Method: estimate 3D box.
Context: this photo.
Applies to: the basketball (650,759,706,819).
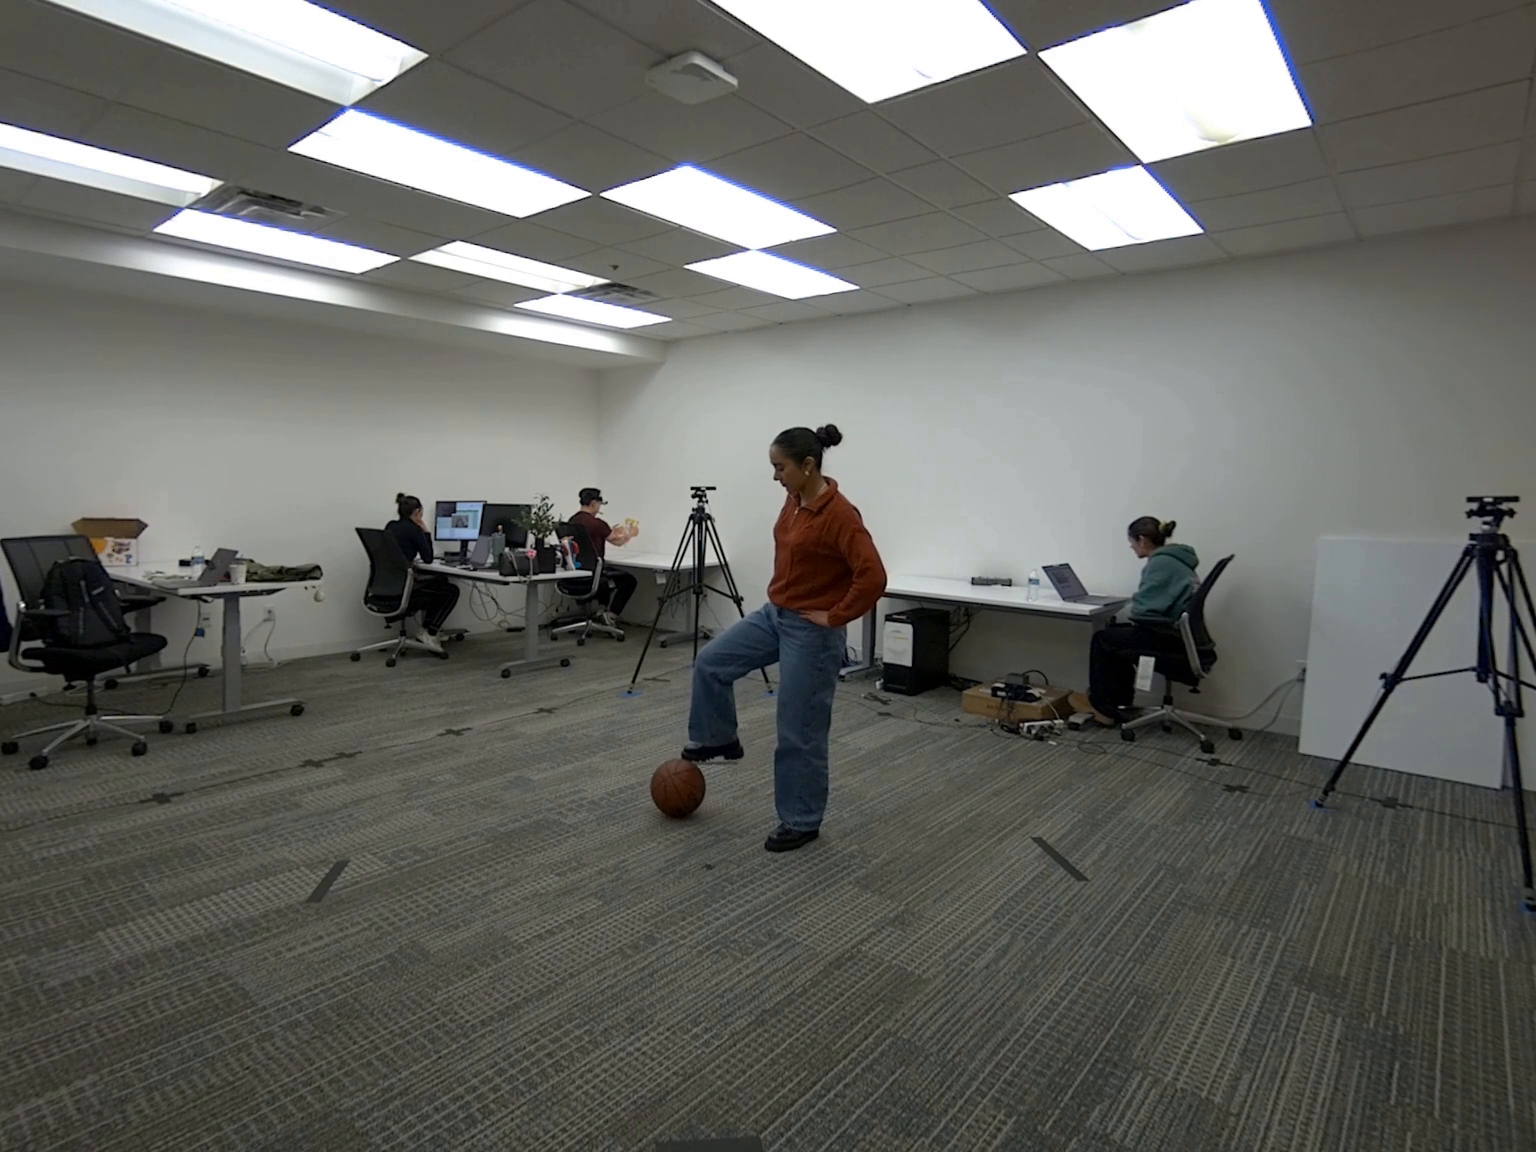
[{"bbox_3d":[-0.396,0.892,3.604,0.235,0.235,0.237,1,4,-2],"label":"basketball"}]
